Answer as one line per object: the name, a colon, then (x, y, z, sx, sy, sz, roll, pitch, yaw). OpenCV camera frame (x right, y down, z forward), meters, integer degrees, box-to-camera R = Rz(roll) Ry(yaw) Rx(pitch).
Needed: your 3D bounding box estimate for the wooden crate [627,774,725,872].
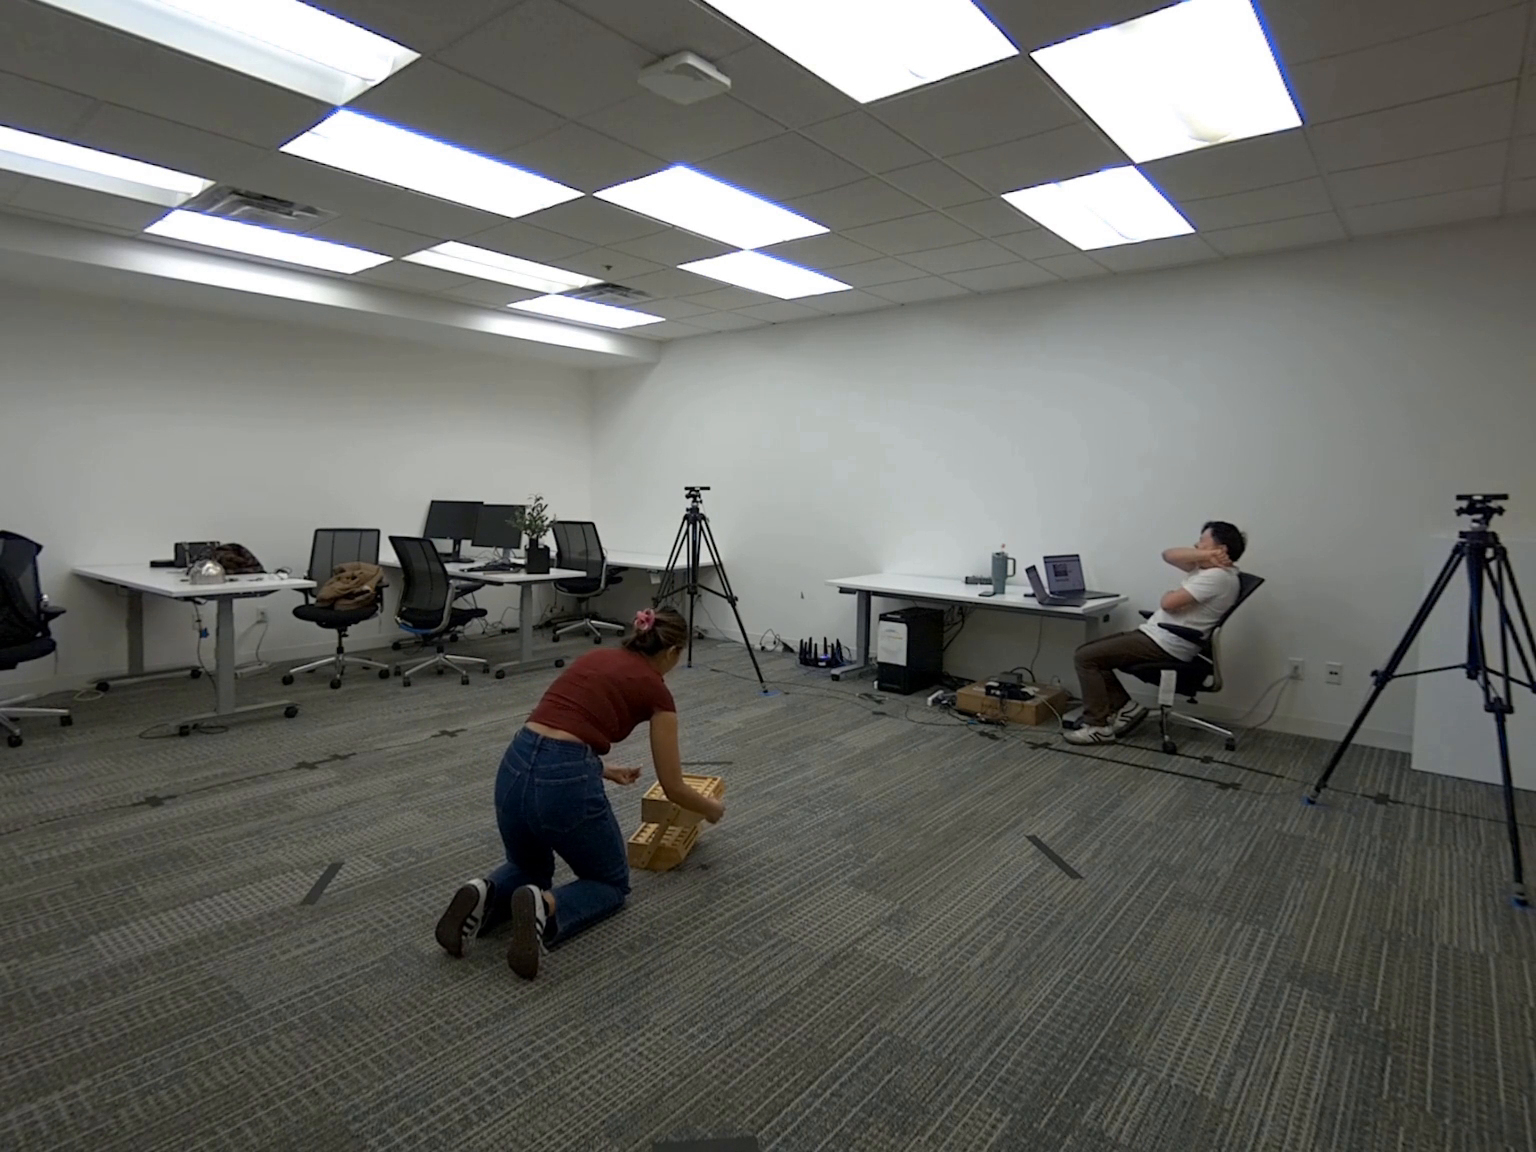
wooden crate: (-0.350, 0.925, 3.219, 0.306, 0.272, 0.321, 2, 4, 12)
